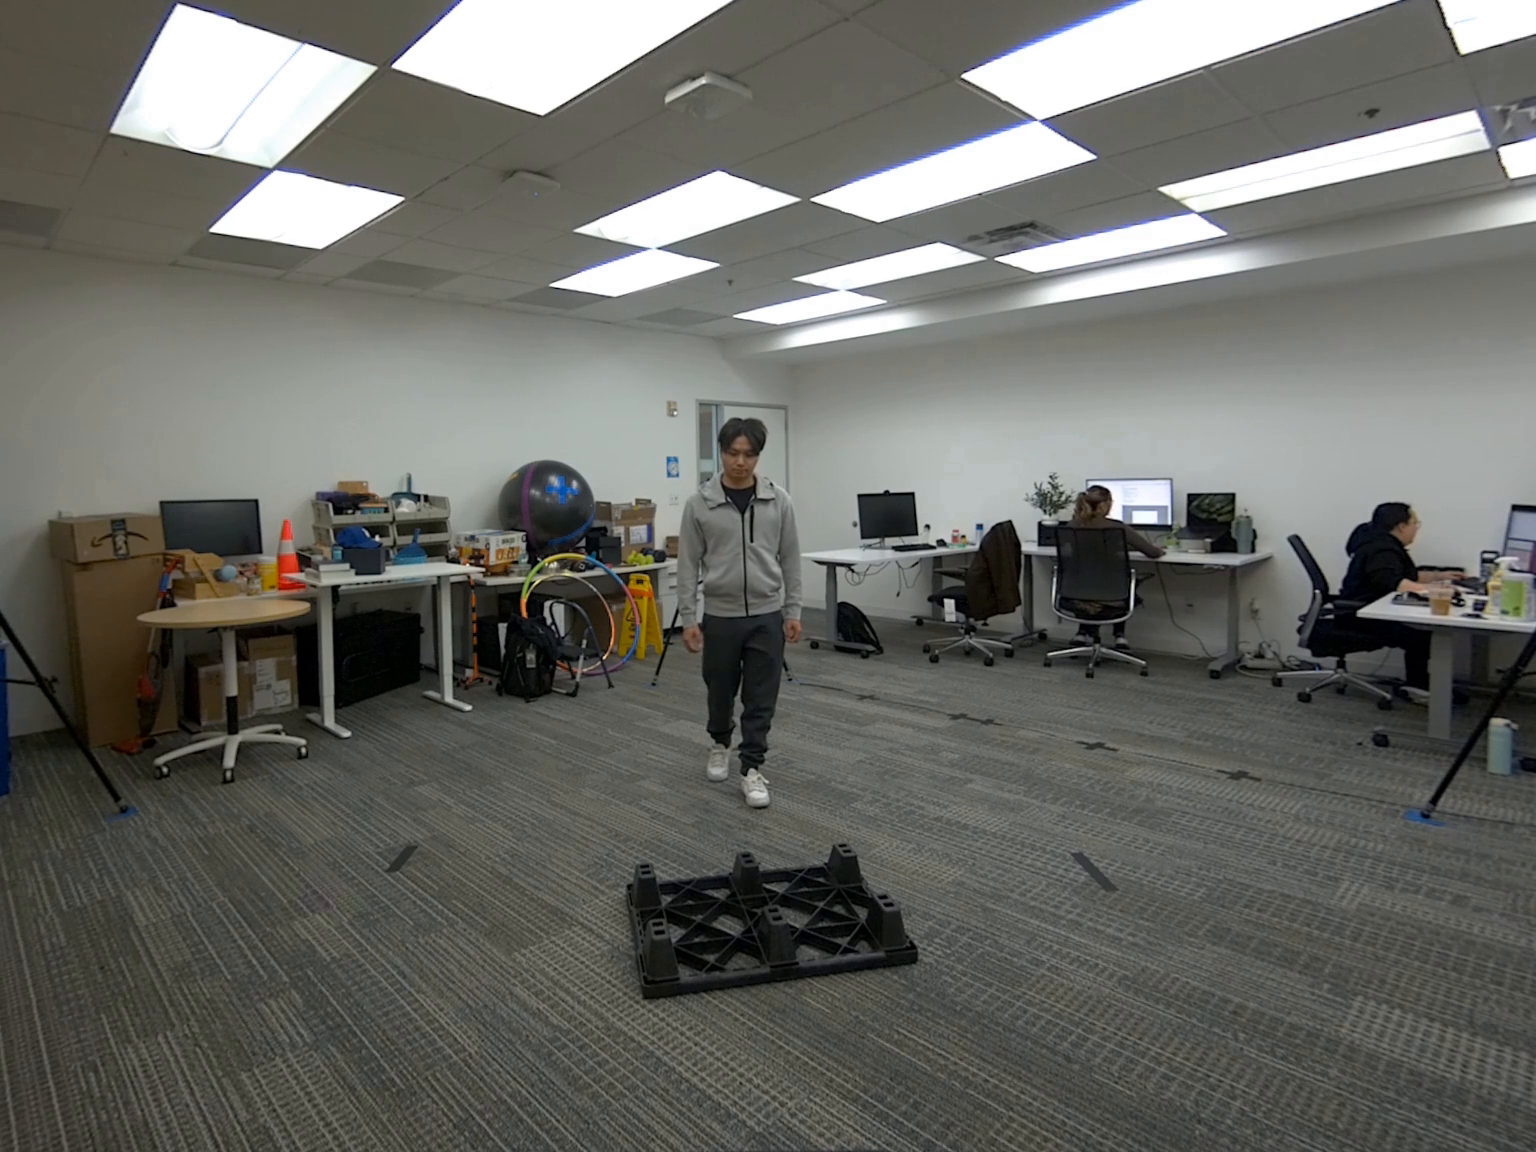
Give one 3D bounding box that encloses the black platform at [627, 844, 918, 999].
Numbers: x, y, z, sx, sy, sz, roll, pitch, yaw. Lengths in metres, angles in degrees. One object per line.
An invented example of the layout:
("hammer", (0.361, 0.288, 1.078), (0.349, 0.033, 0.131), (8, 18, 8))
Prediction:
("black platform", (-0.019, 1.030, 2.670), (0.796, 0.142, 0.615), (-2, 7, -13))
